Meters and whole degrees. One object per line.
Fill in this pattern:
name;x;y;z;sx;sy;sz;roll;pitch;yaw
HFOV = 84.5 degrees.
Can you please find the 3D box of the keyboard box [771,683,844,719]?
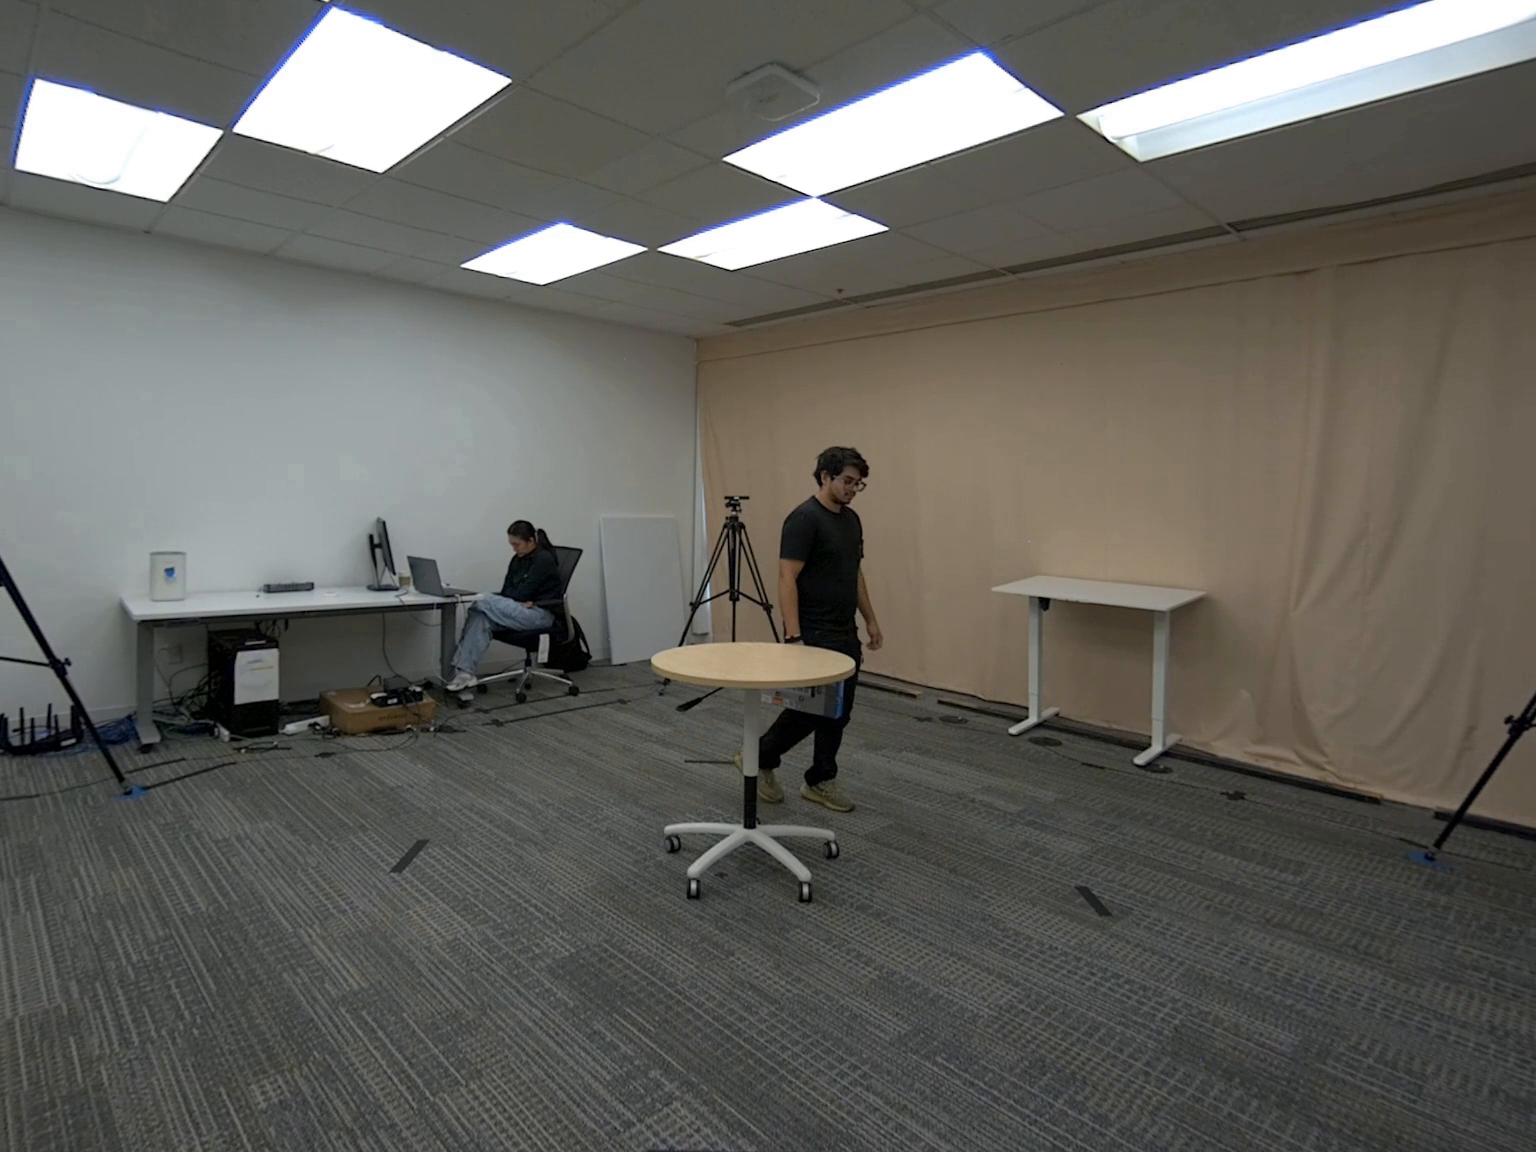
keyboard box;0.106;0.483;3.600;0.447;0.175;0.058;7;6;31
